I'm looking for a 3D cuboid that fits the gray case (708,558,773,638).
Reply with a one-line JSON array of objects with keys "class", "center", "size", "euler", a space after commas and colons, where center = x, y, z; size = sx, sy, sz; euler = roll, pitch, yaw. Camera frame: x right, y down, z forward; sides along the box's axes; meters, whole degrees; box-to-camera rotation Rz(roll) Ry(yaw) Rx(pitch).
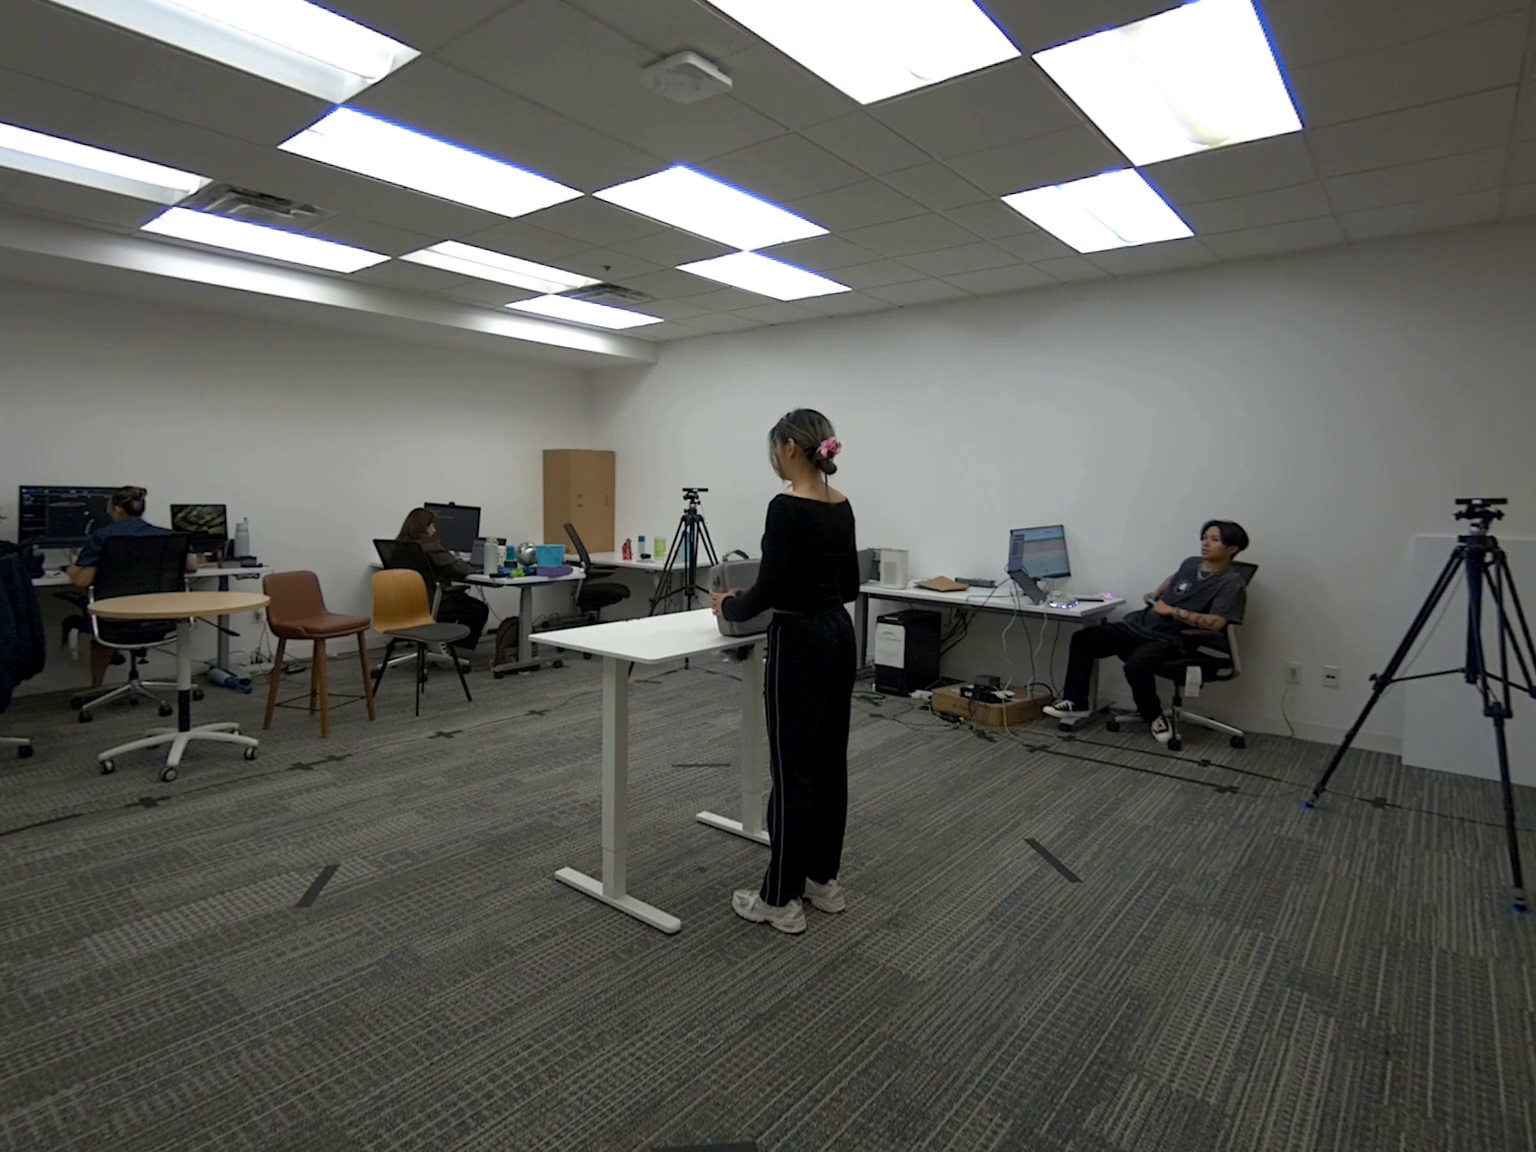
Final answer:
[{"class": "gray case", "center": [-0.082, 0.067, 2.996], "size": [0.249, 0.262, 0.107], "euler": [-3, -8, -45]}]
